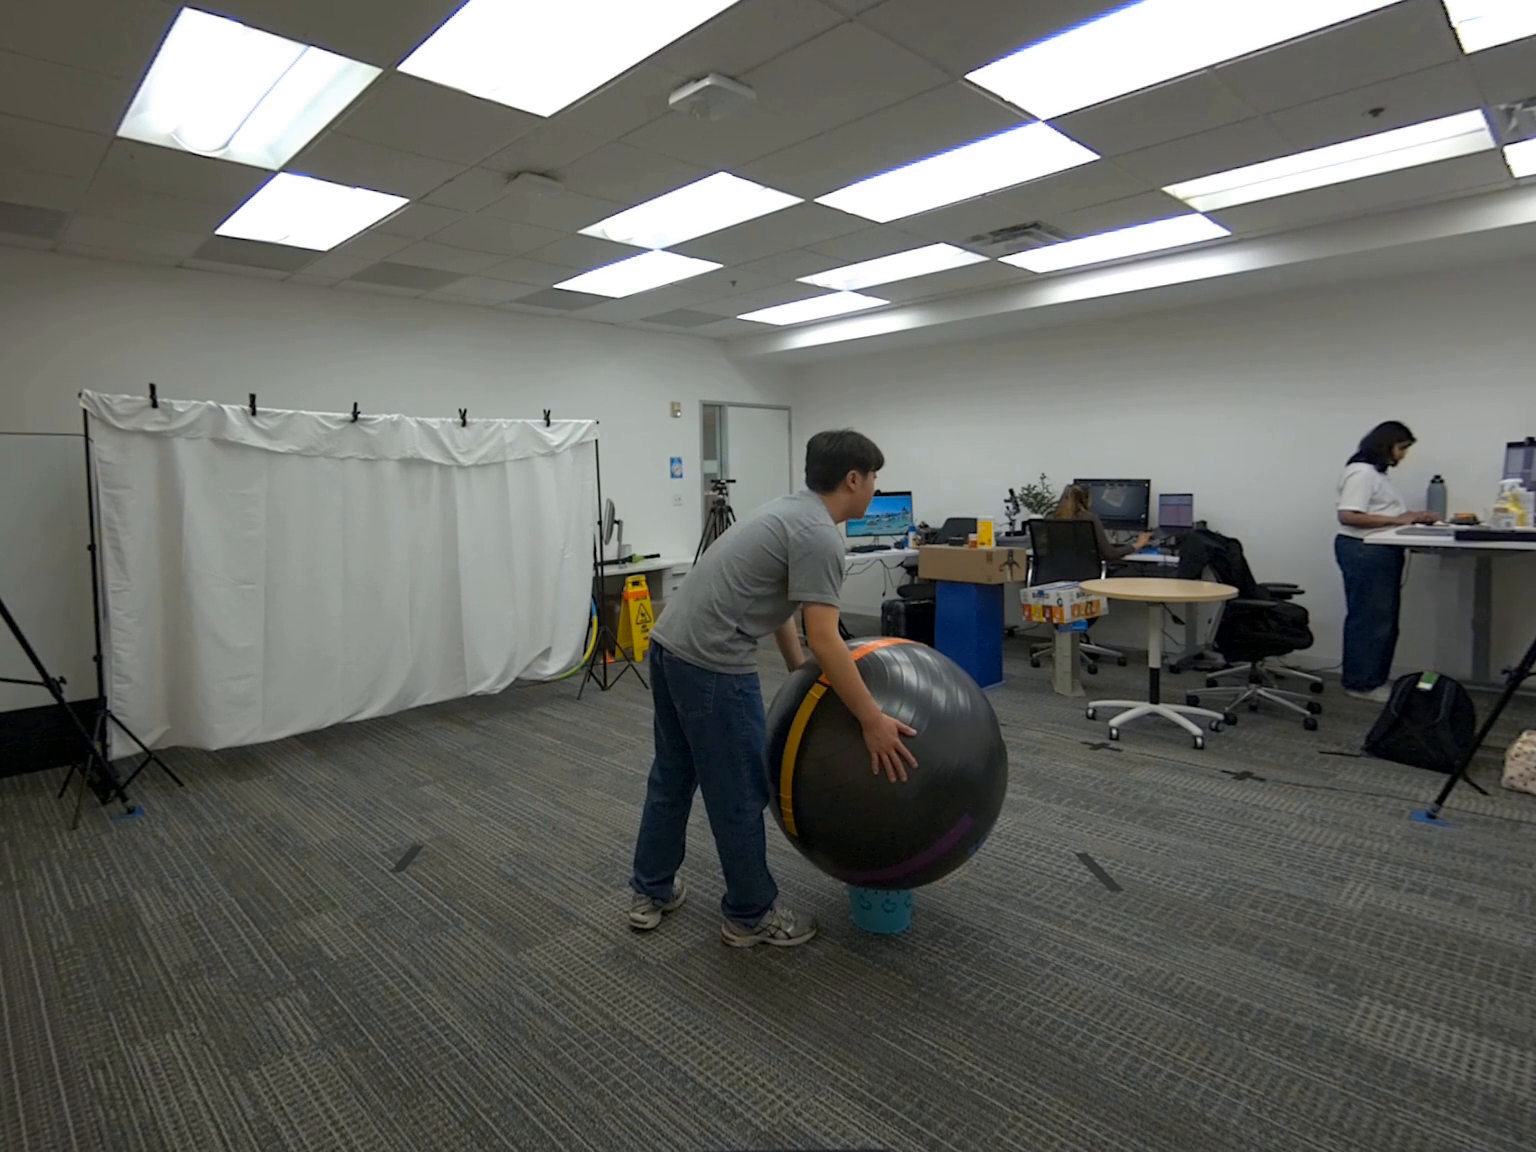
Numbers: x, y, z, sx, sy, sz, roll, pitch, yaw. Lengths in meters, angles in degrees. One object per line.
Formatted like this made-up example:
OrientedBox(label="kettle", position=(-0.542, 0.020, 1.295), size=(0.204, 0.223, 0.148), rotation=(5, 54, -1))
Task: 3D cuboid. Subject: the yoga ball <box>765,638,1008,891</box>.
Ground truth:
OrientedBox(label="yoga ball", position=(0.357, 0.575, 2.667), size=(0.757, 0.755, 0.762), rotation=(-1, 5, -2))
